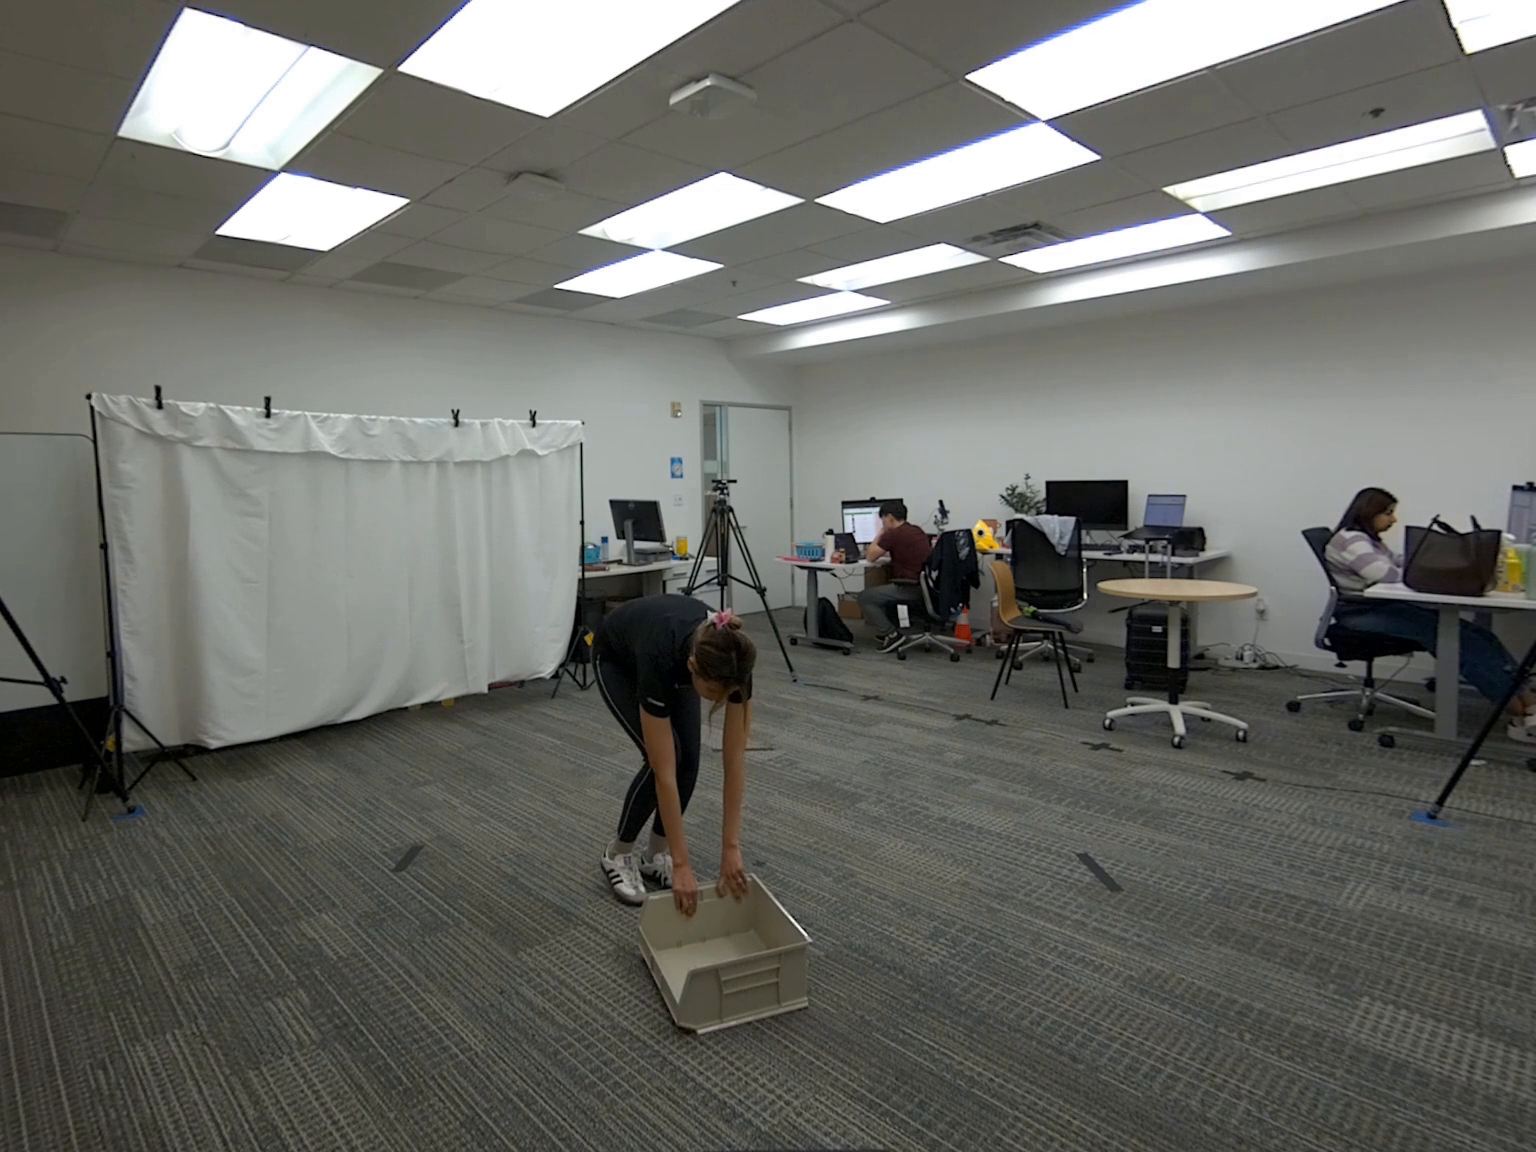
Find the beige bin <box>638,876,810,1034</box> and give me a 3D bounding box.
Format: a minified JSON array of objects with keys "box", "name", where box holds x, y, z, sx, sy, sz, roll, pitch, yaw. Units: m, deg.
[{"box":[-0.129,1.044,2.388,0.370,0.188,0.432,-3,5,-22],"name":"beige bin"}]
